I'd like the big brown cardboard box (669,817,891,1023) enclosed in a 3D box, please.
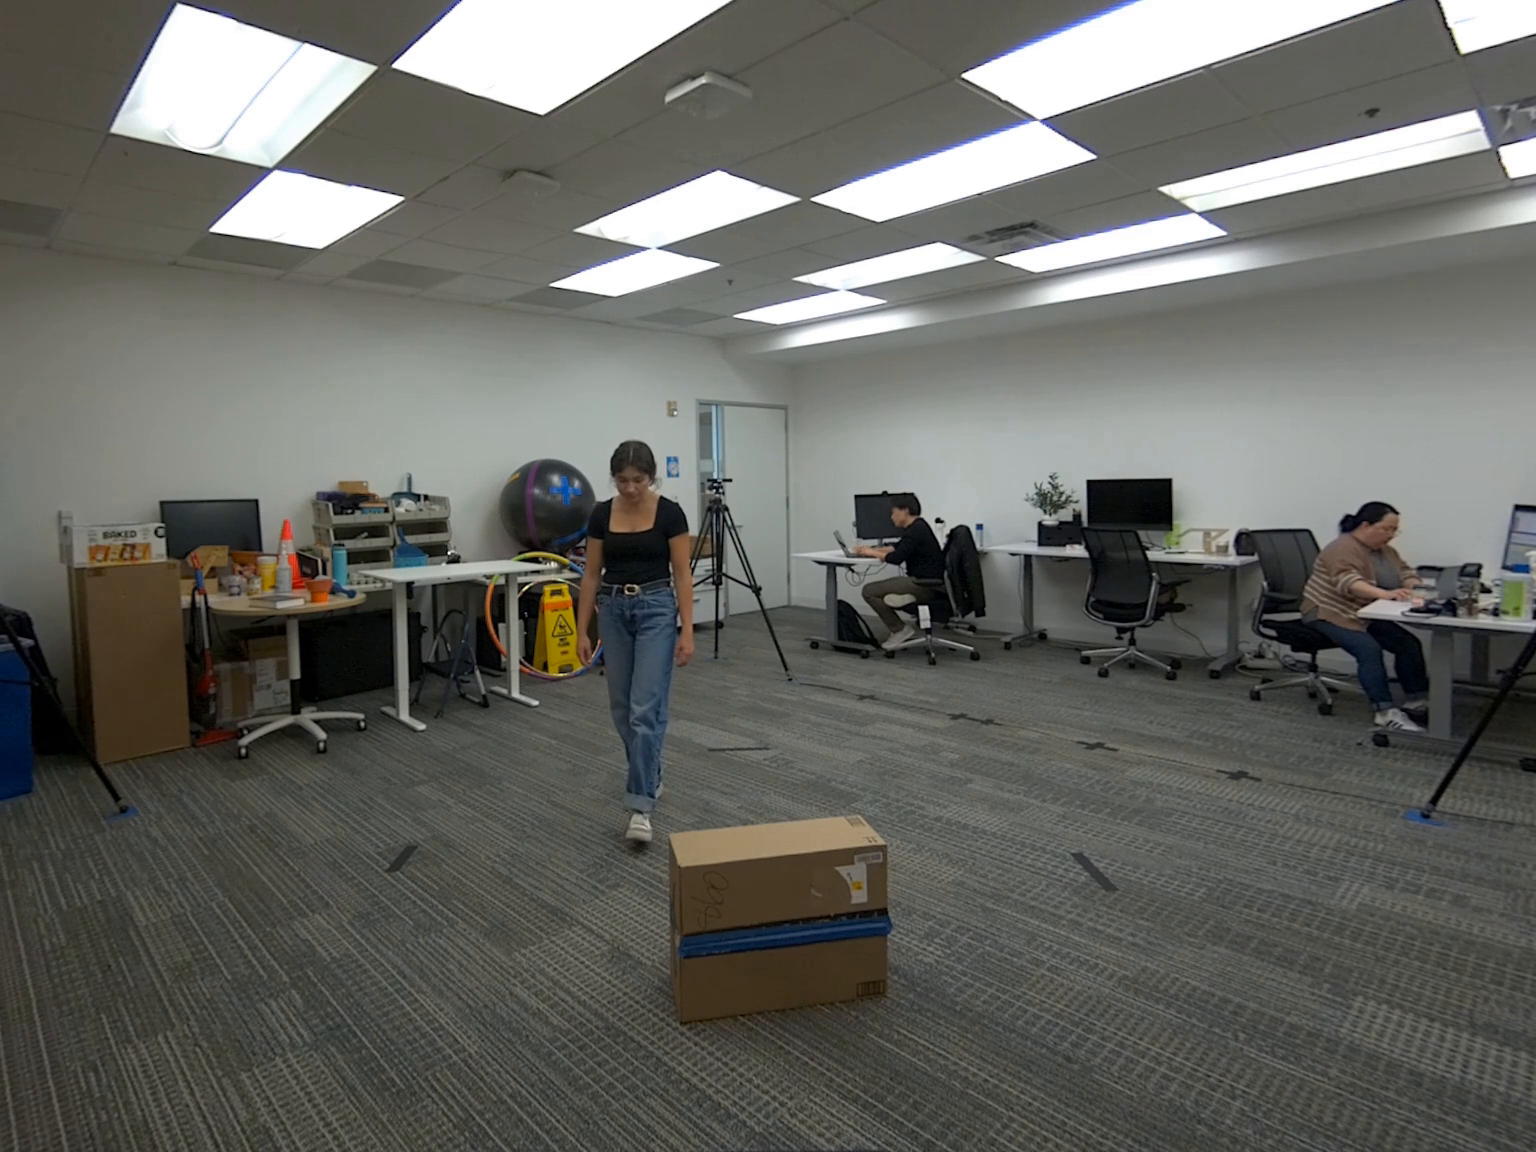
[{"bbox_3d":[0.032,0.923,2.341,0.583,0.416,0.236,-2,3,-10],"label":"big brown cardboard box"}]
